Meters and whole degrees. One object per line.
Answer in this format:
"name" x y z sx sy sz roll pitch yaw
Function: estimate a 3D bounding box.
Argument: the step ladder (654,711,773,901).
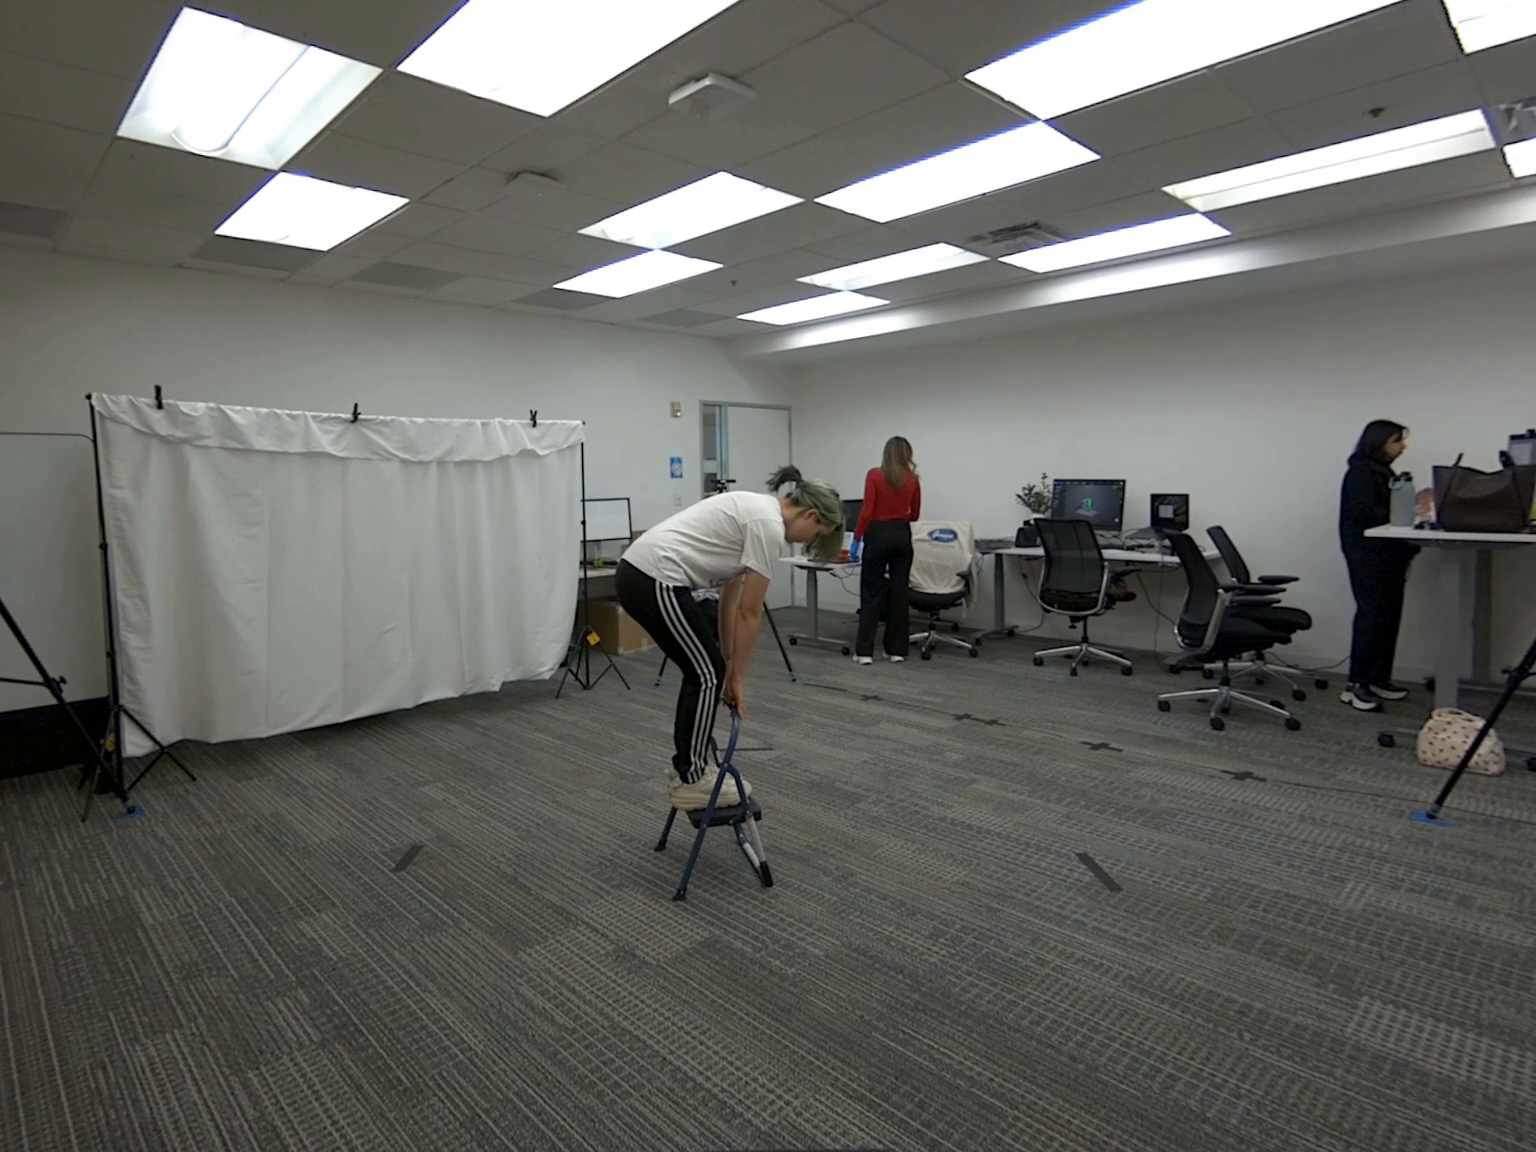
"step ladder" -0.205 0.757 3.071 0.344 0.604 0.438 -2 5 -16
